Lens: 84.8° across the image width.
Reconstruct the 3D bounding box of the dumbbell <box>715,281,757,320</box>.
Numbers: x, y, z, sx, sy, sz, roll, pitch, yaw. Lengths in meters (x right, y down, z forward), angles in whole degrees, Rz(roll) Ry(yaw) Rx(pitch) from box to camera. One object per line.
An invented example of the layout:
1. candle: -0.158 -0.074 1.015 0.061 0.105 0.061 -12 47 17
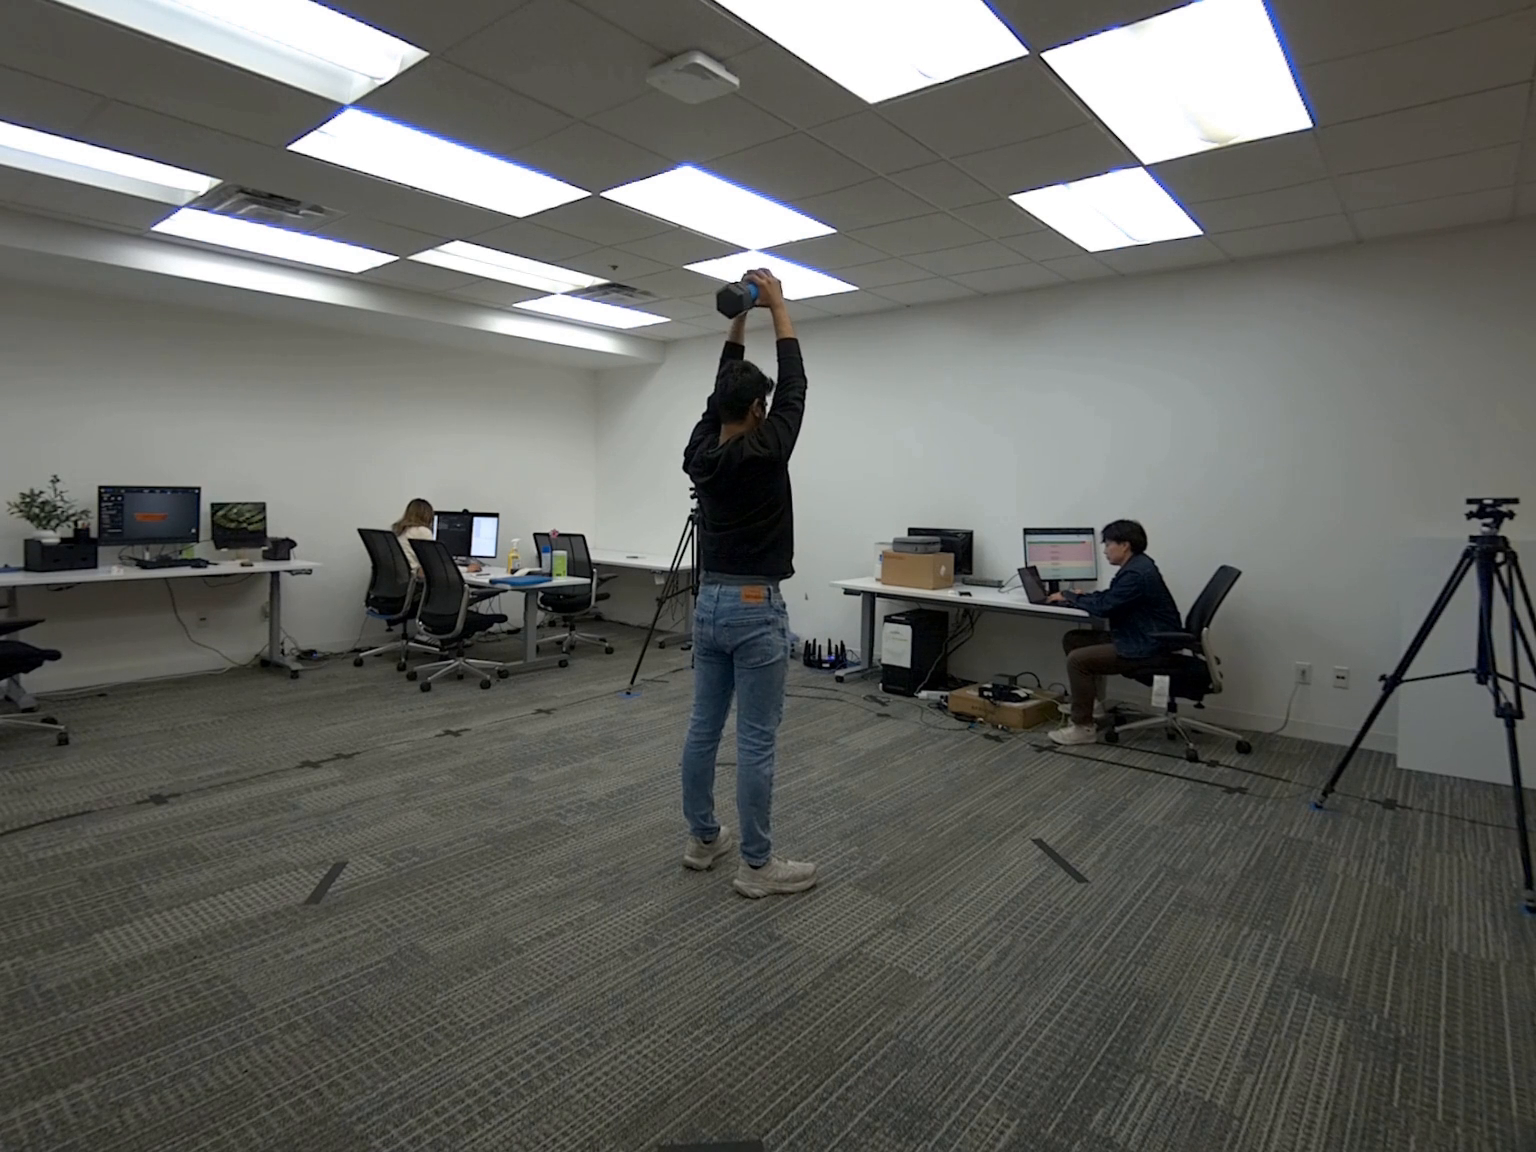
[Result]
1. dumbbell: -0.077 -0.983 3.001 0.125 0.107 0.293 -20 17 37
